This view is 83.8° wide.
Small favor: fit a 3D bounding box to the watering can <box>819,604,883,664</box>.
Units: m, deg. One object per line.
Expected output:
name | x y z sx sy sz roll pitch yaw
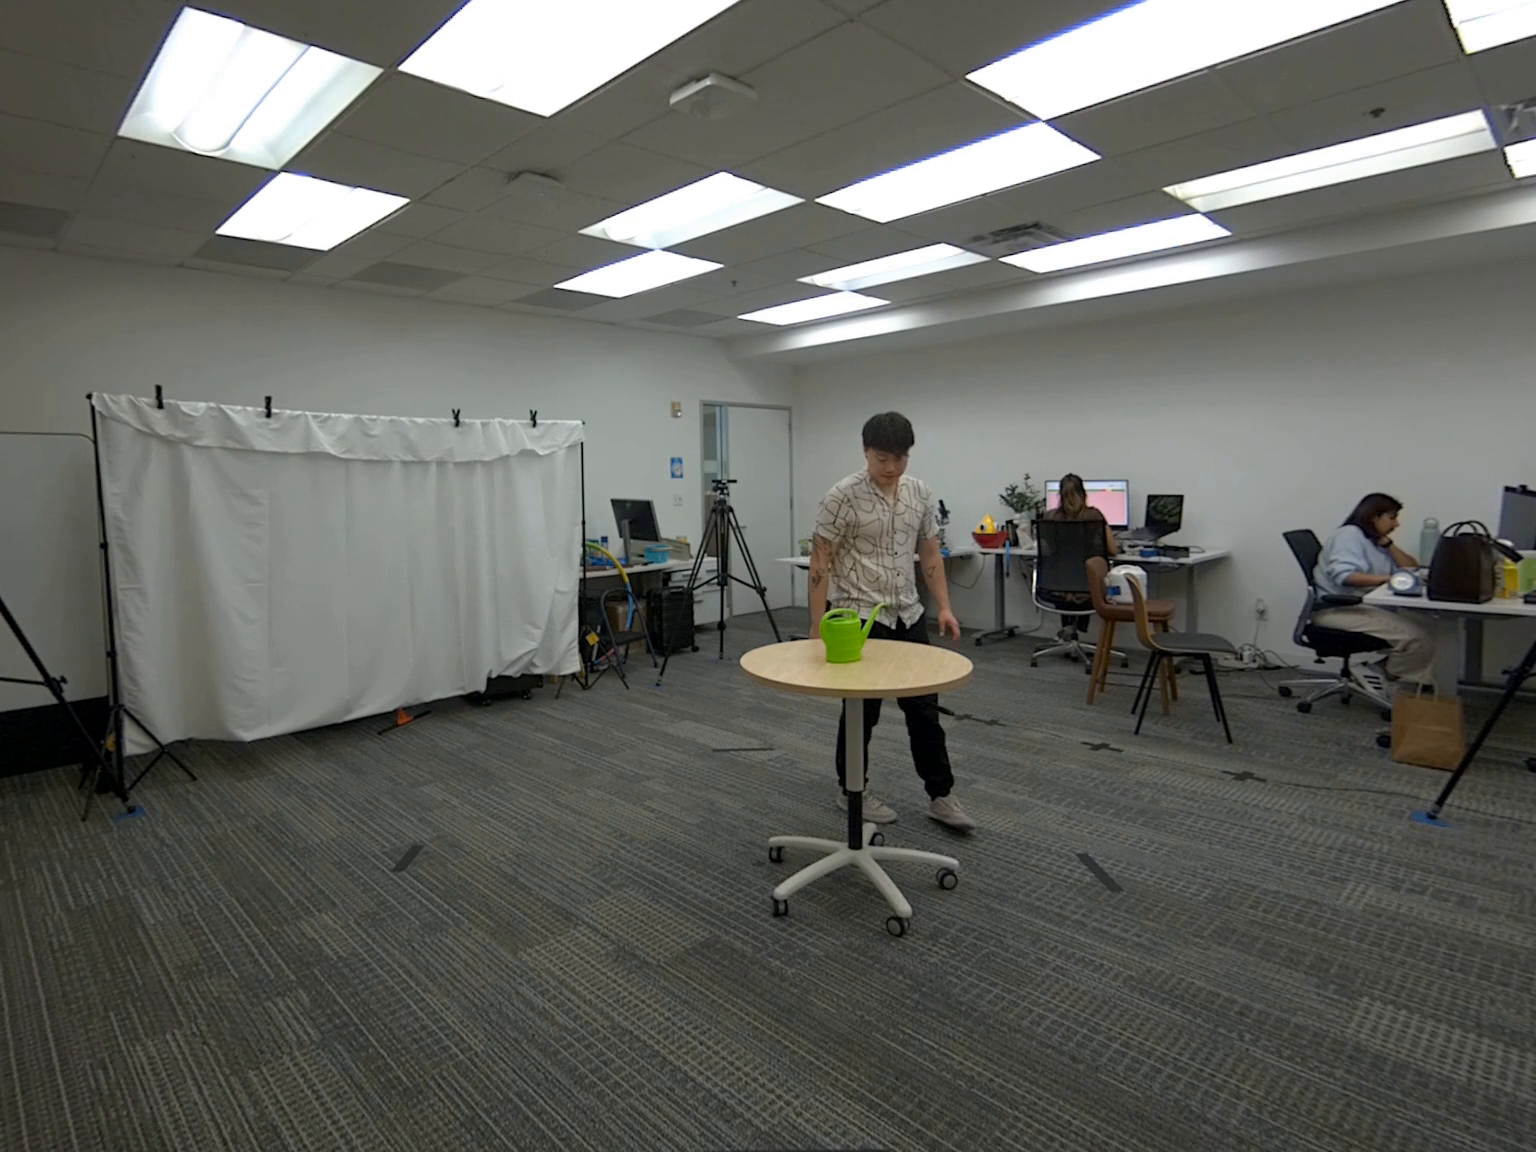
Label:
watering can | 0.298 0.193 2.888 0.274 0.176 0.100 -4 6 -18
